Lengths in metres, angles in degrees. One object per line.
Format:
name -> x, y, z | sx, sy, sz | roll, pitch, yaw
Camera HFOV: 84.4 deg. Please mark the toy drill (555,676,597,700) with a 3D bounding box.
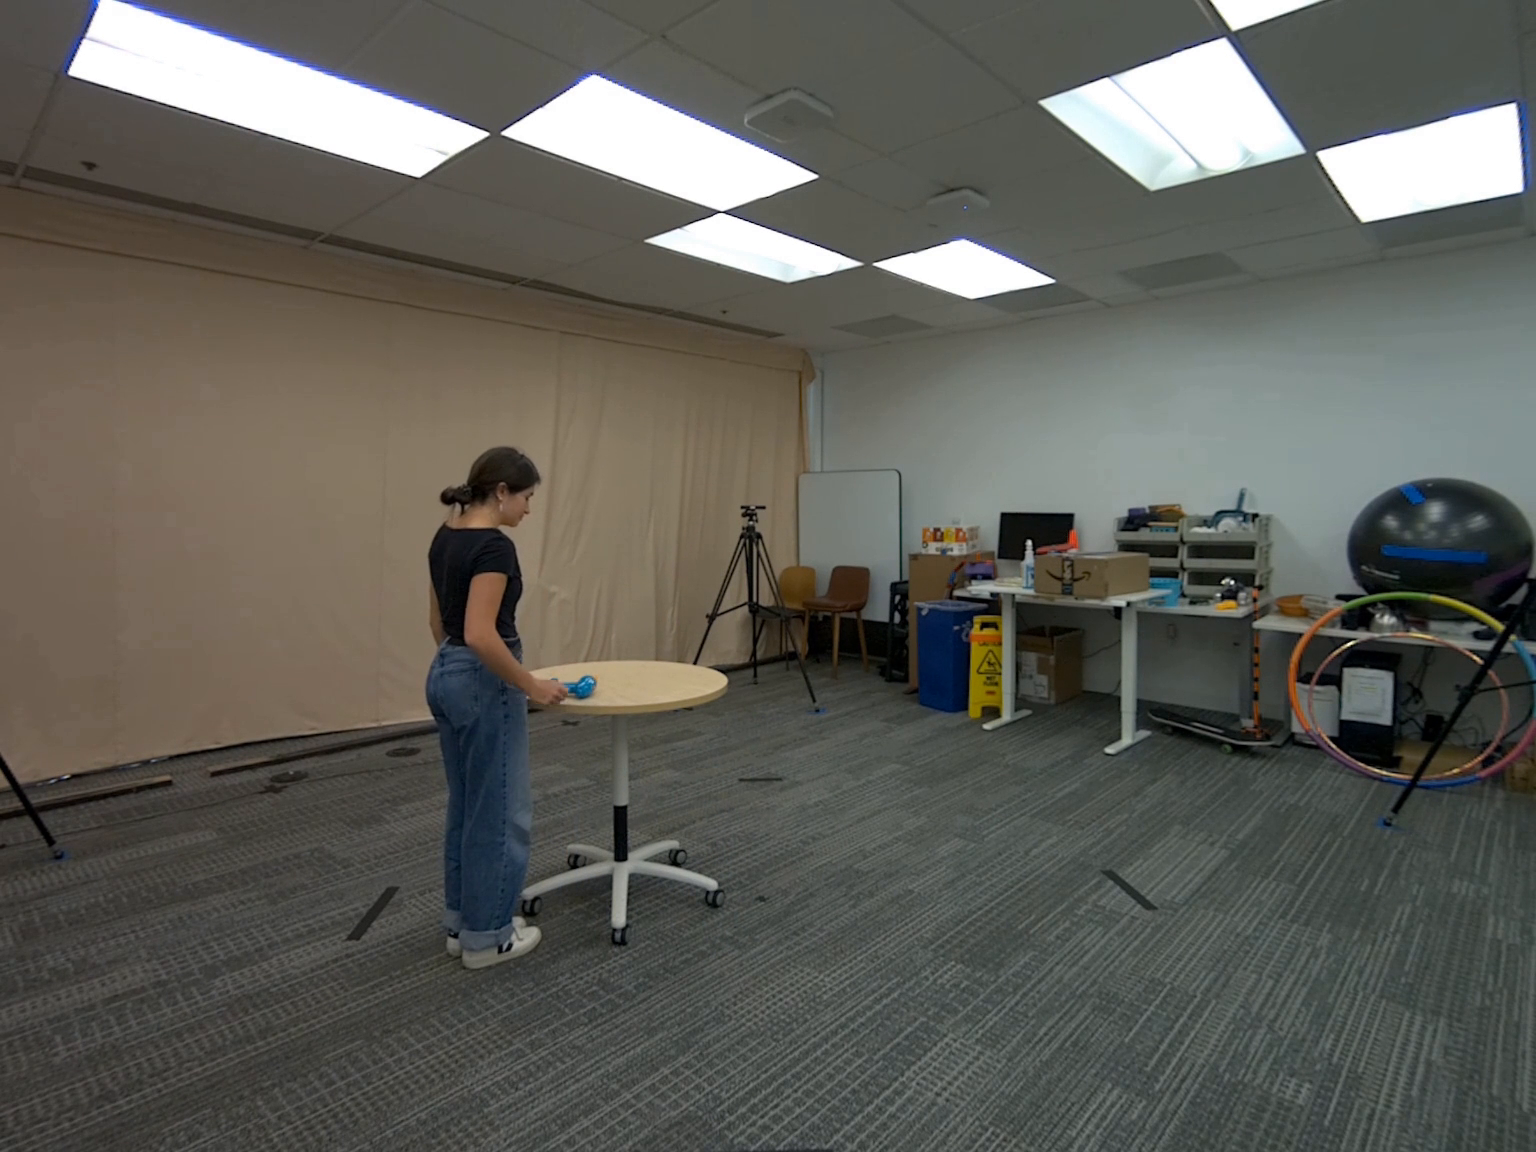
toy drill -> -0.618, 0.357, 2.722 | 0.147, 0.061, 0.169 | -1, 13, 8
